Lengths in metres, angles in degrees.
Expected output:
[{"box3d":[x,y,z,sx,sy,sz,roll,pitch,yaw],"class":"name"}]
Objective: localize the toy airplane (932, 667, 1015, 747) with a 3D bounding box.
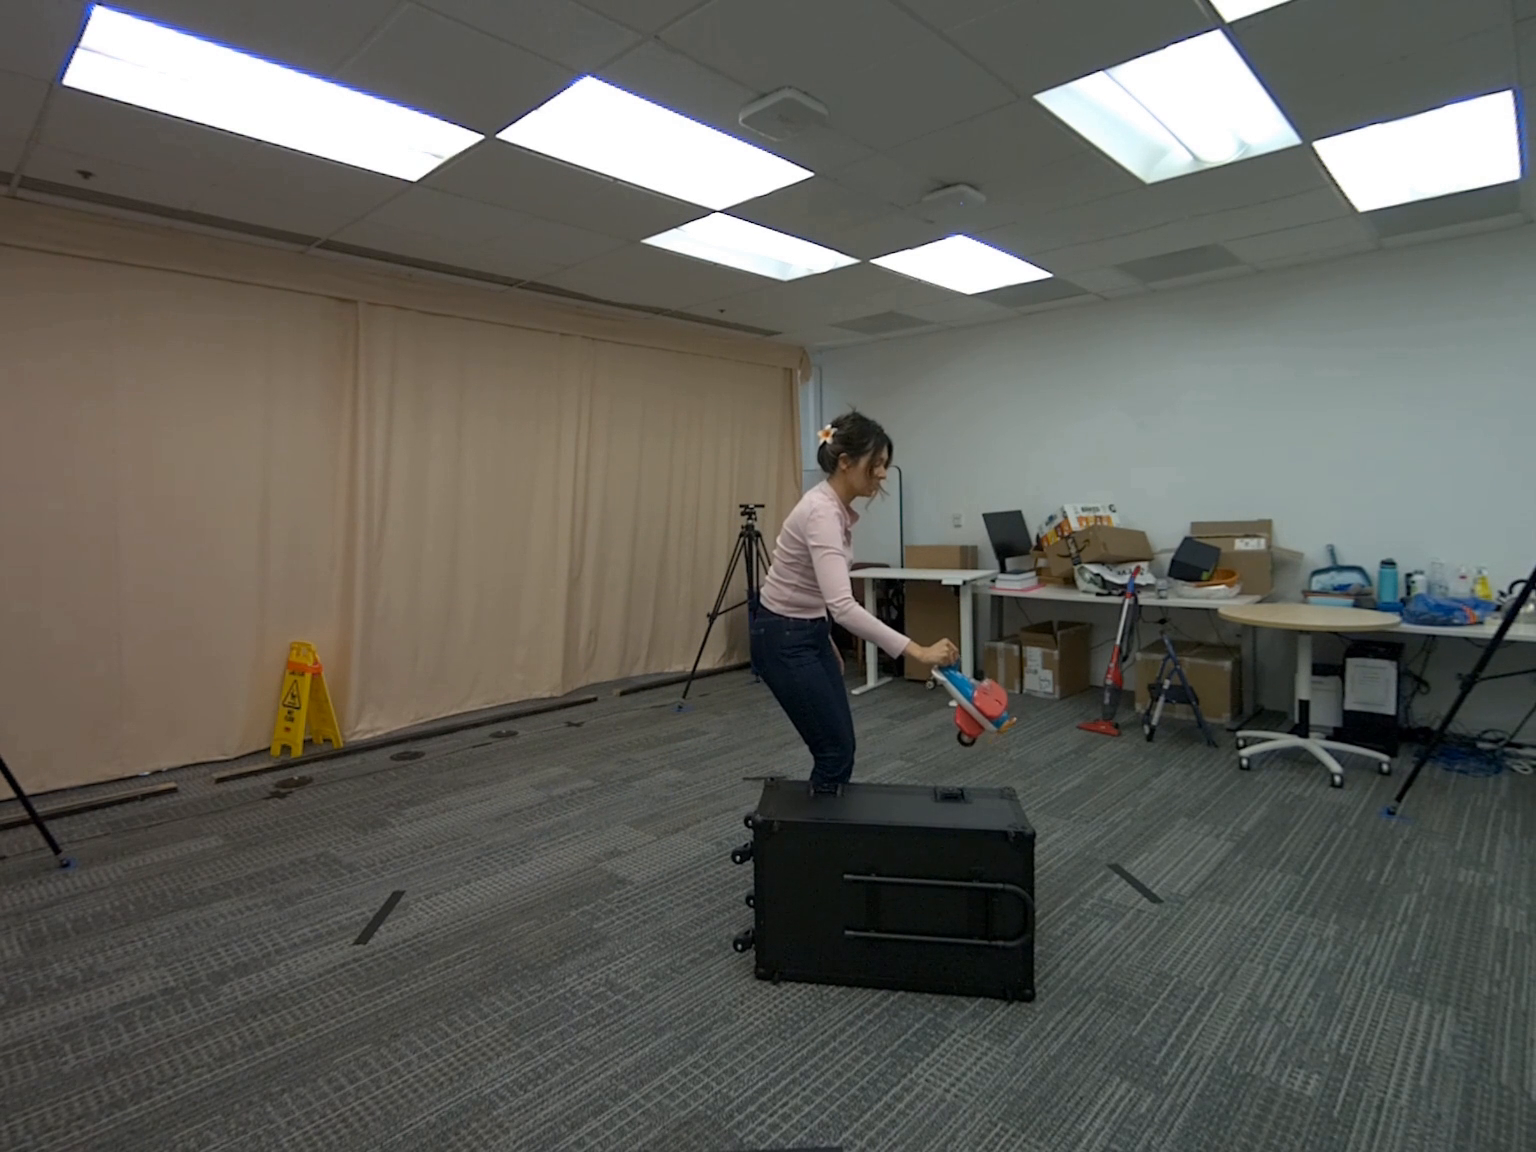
[{"box3d":[0.585,0.365,2.426,0.158,0.254,0.253,-37,19,24],"class":"toy airplane"}]
